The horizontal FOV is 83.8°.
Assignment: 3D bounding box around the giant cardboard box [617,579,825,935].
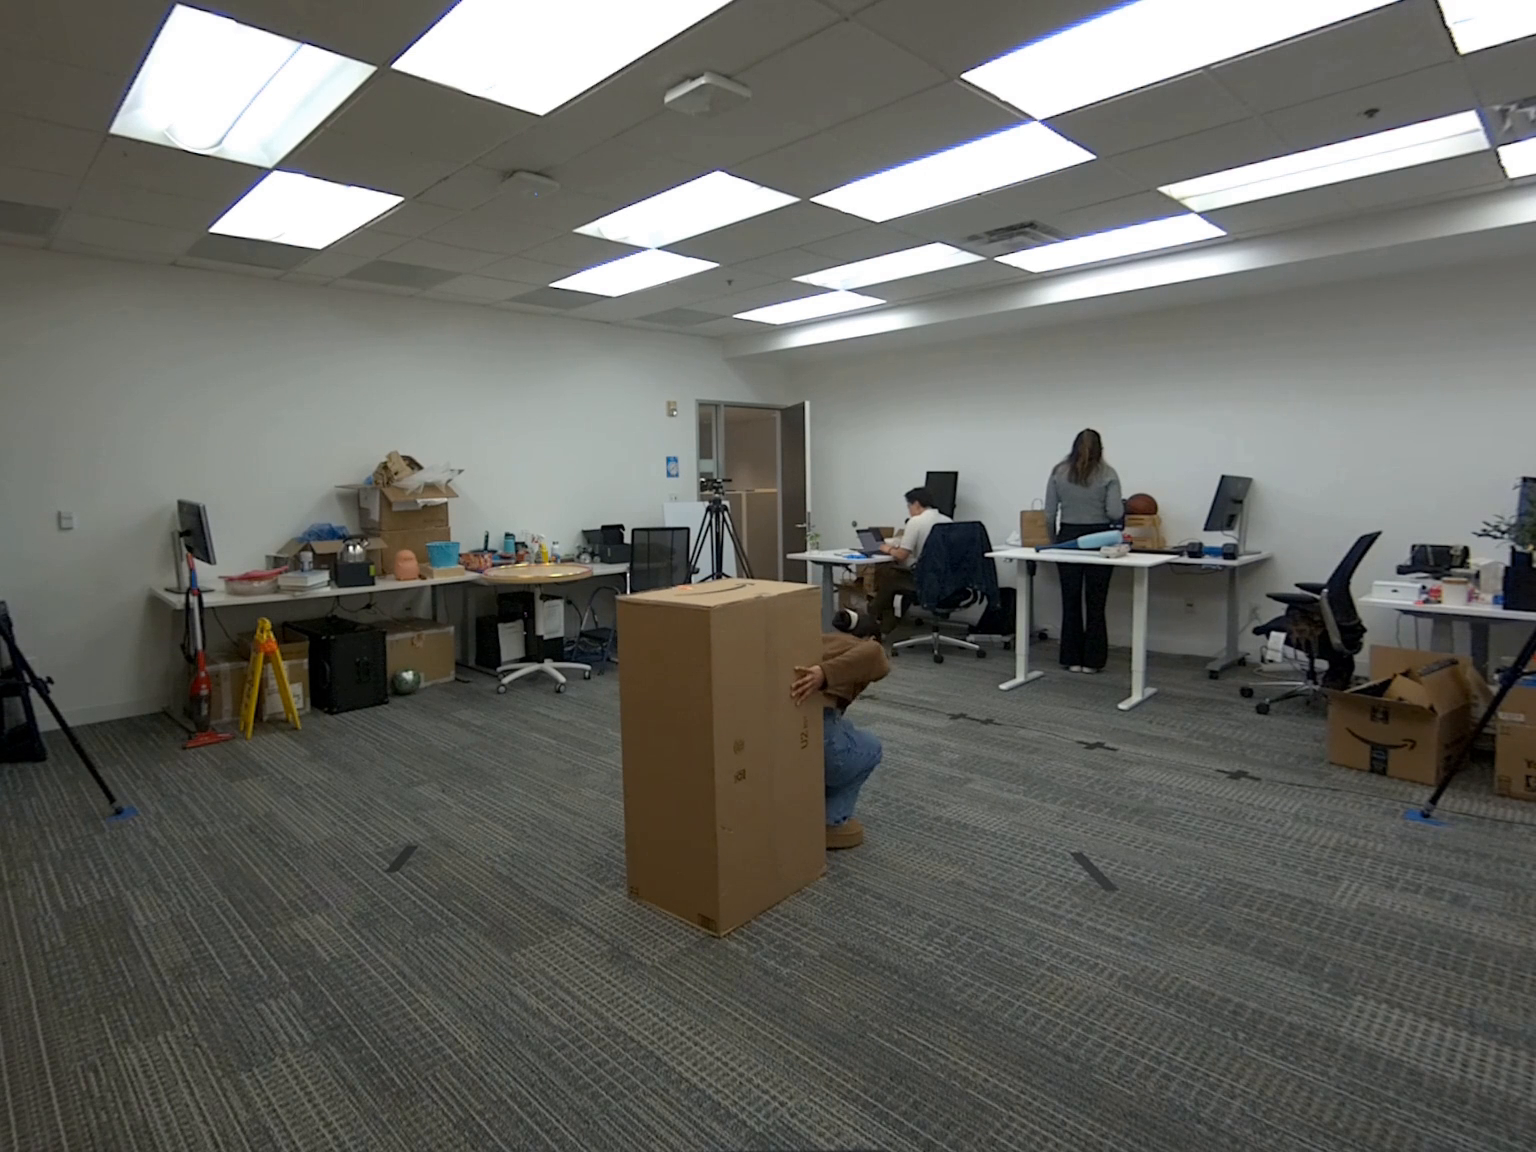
[{"bbox_3d":[-0.147,0.561,2.913,0.460,1.023,0.569,3,6,39],"label":"giant cardboard box"}]
